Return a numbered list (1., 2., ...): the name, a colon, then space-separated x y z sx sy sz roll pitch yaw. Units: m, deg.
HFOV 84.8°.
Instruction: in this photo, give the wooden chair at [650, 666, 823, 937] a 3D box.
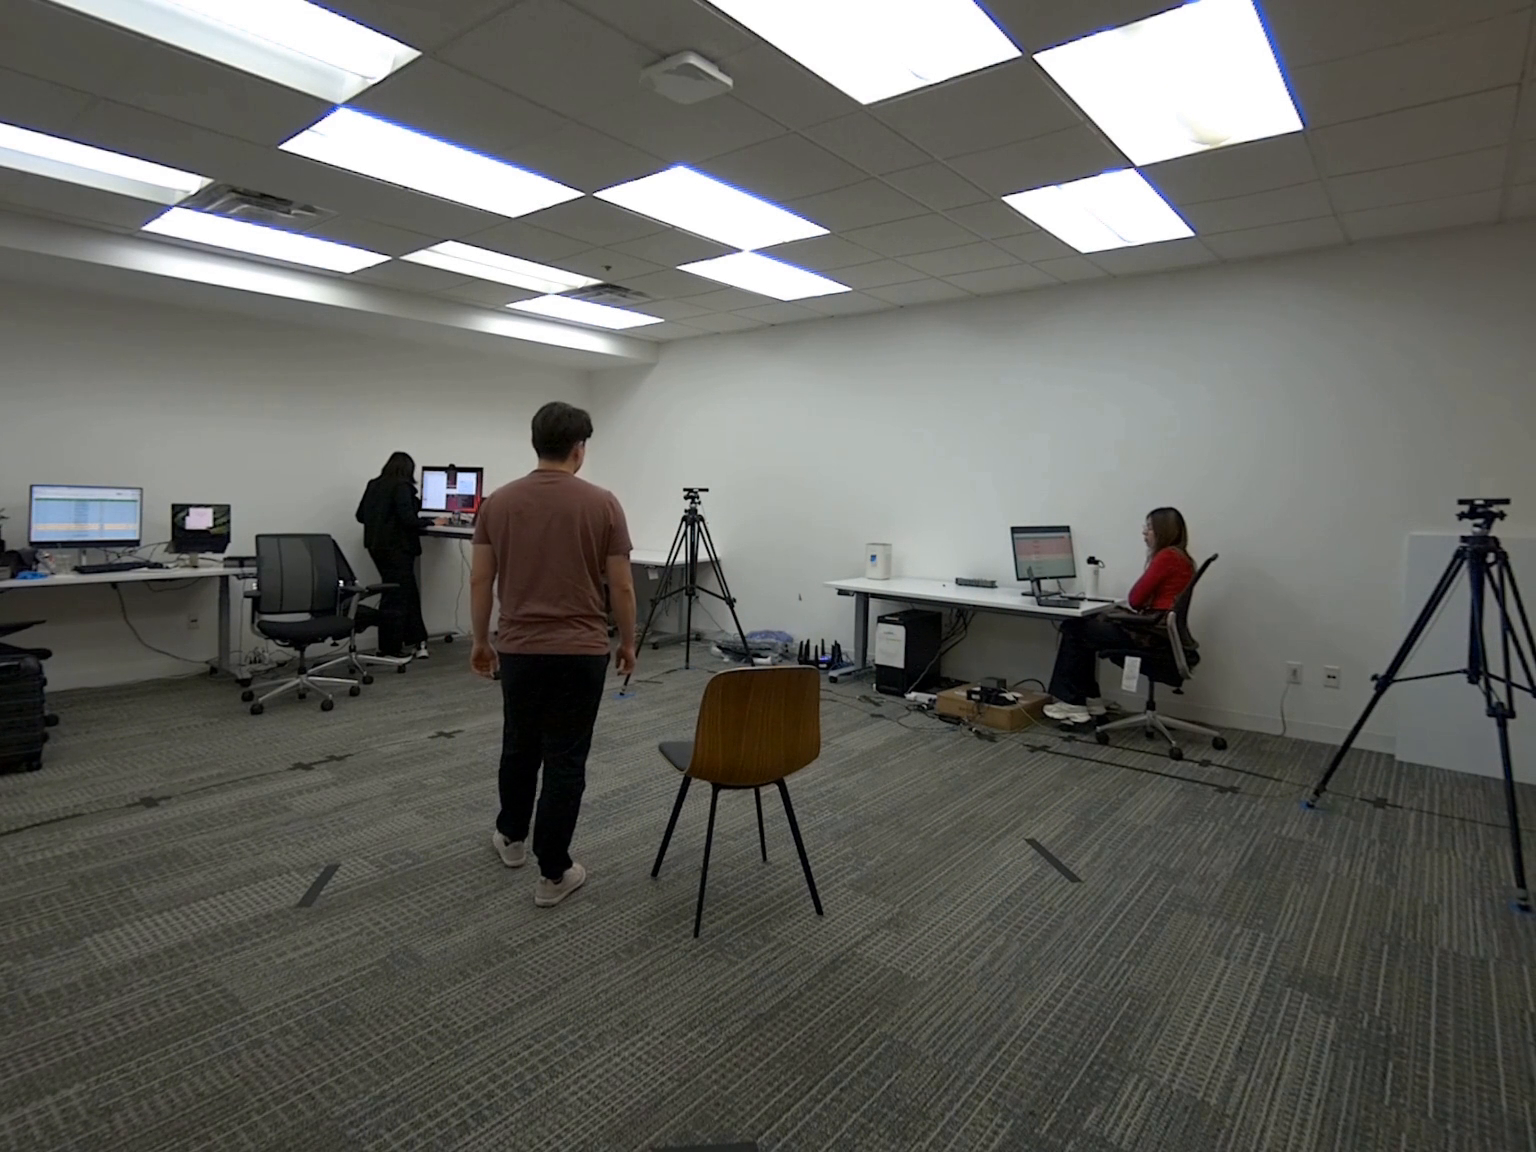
1. wooden chair: -0.118 0.669 2.887 0.468 0.872 0.538 0 7 -23
